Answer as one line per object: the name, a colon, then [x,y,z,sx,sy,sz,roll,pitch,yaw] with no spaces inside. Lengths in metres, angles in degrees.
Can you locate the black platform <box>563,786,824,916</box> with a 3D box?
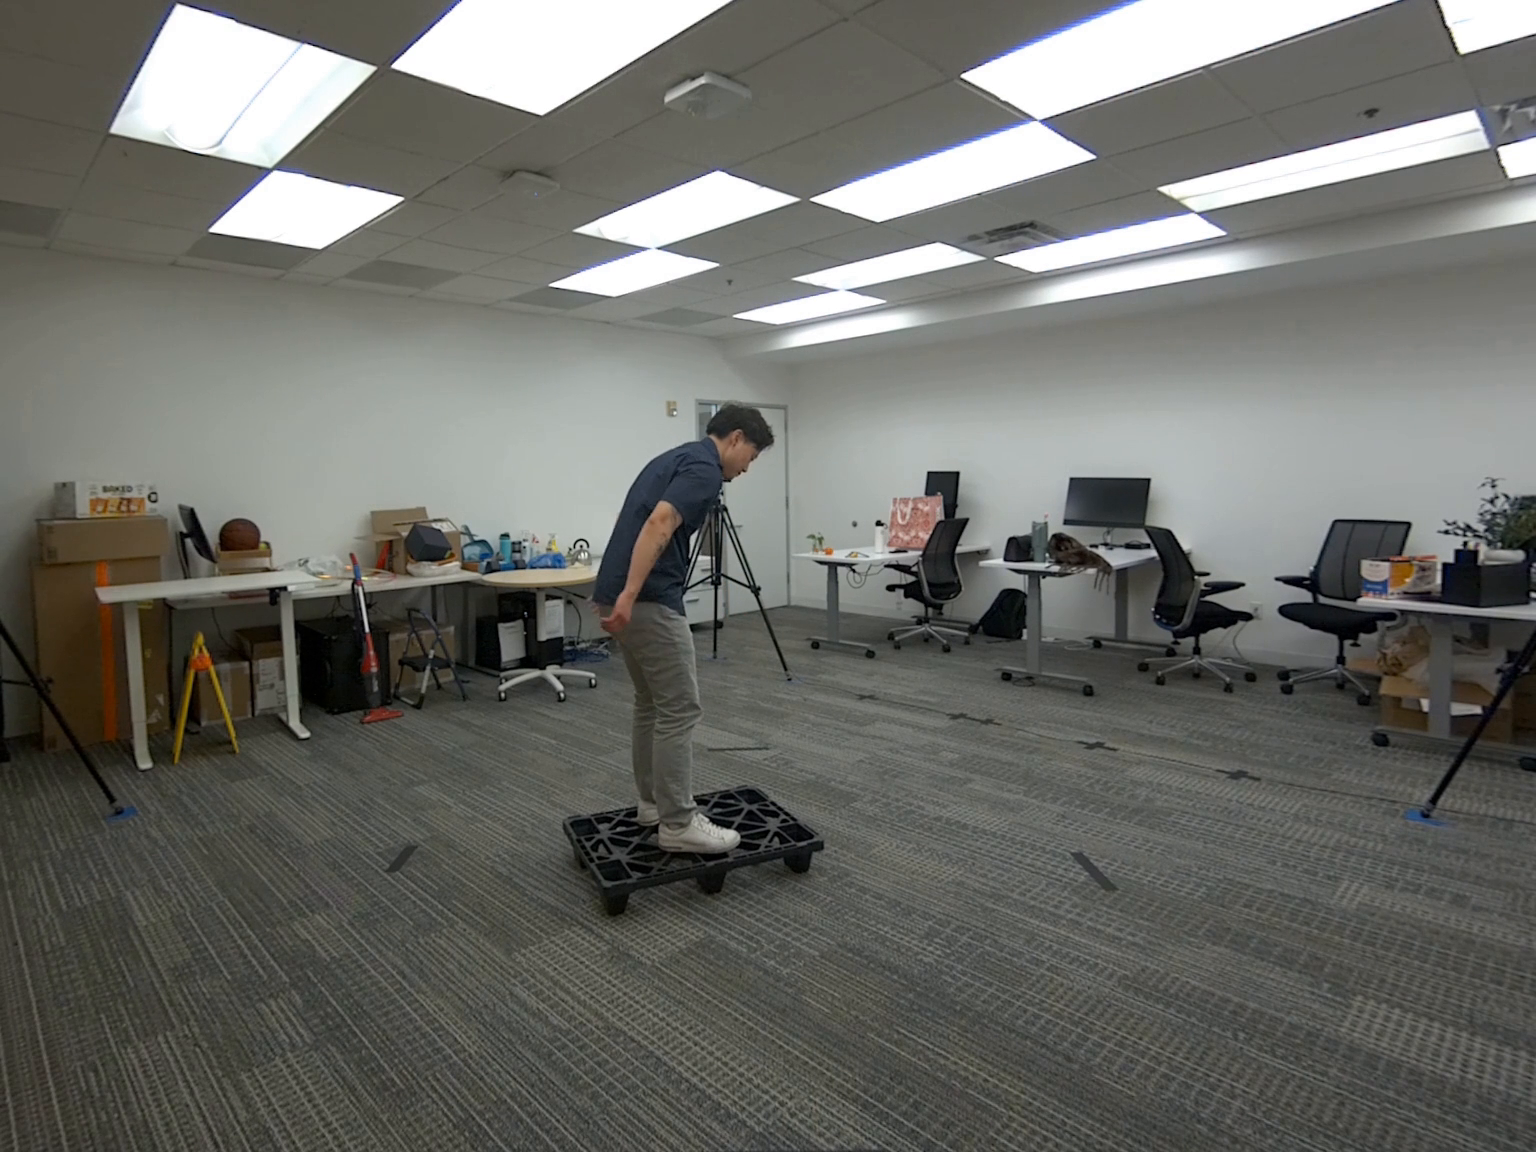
black platform: [-0.288,0.981,3.102,0.789,0.143,0.620,-4,7,-24]
